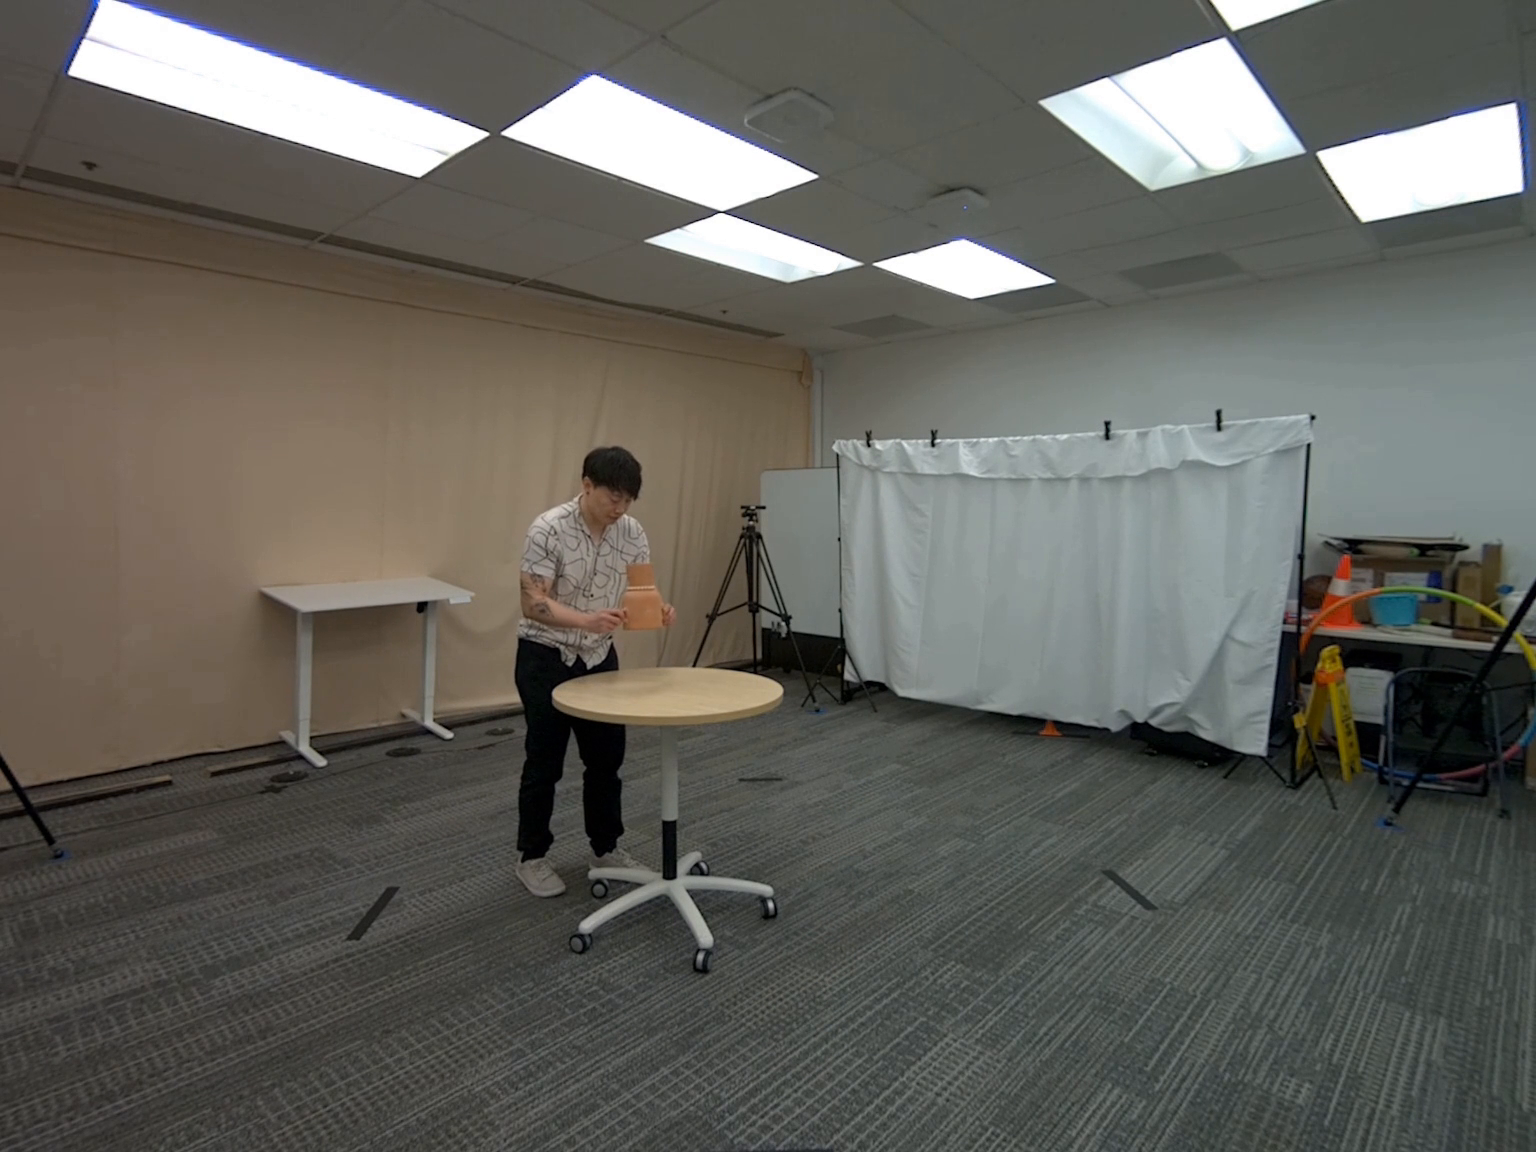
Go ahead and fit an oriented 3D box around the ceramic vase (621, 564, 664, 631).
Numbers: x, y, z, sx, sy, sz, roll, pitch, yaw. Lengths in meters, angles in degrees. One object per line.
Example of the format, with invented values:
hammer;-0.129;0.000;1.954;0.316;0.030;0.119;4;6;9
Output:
ceramic vase;-0.426;0.066;2.843;0.136;0.220;0.156;0;-2;12
